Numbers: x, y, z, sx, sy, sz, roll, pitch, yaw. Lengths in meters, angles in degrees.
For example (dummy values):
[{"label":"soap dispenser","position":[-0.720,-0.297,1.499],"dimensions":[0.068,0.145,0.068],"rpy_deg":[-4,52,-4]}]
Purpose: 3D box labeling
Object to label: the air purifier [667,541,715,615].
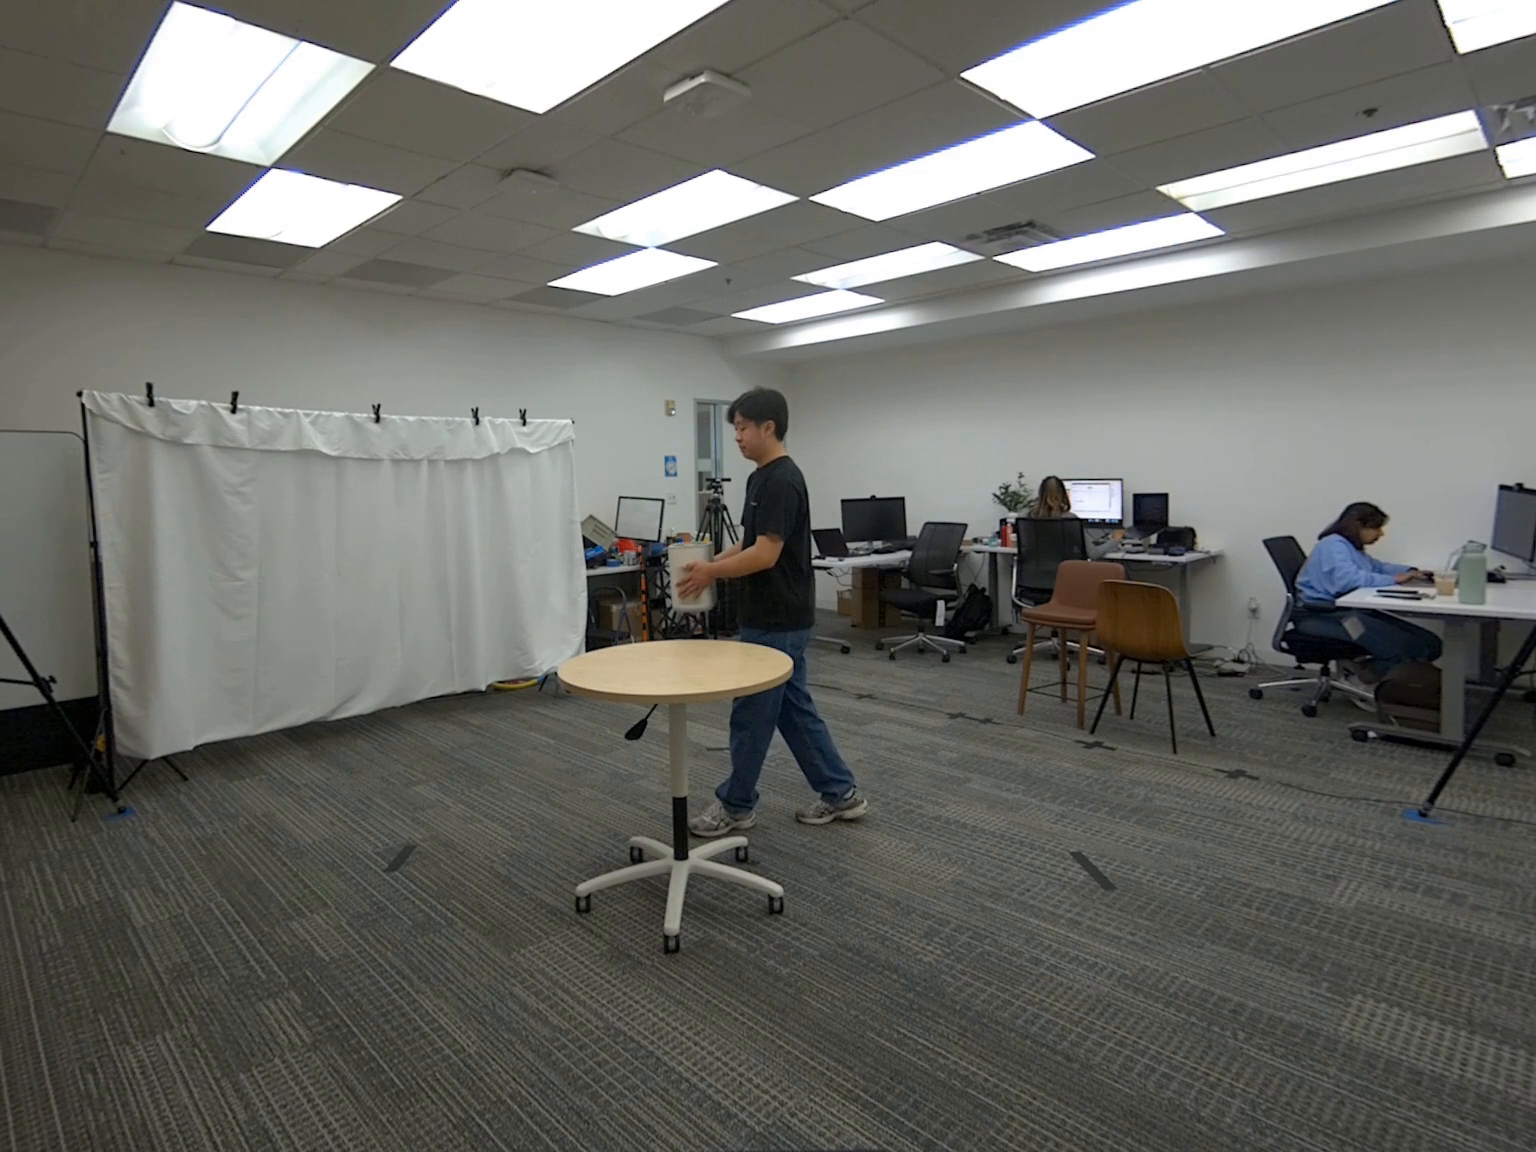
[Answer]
[{"label":"air purifier","position":[-0.295,-0.001,3.420],"dimensions":[0.172,0.264,0.171],"rpy_deg":[-4,6,2]}]
